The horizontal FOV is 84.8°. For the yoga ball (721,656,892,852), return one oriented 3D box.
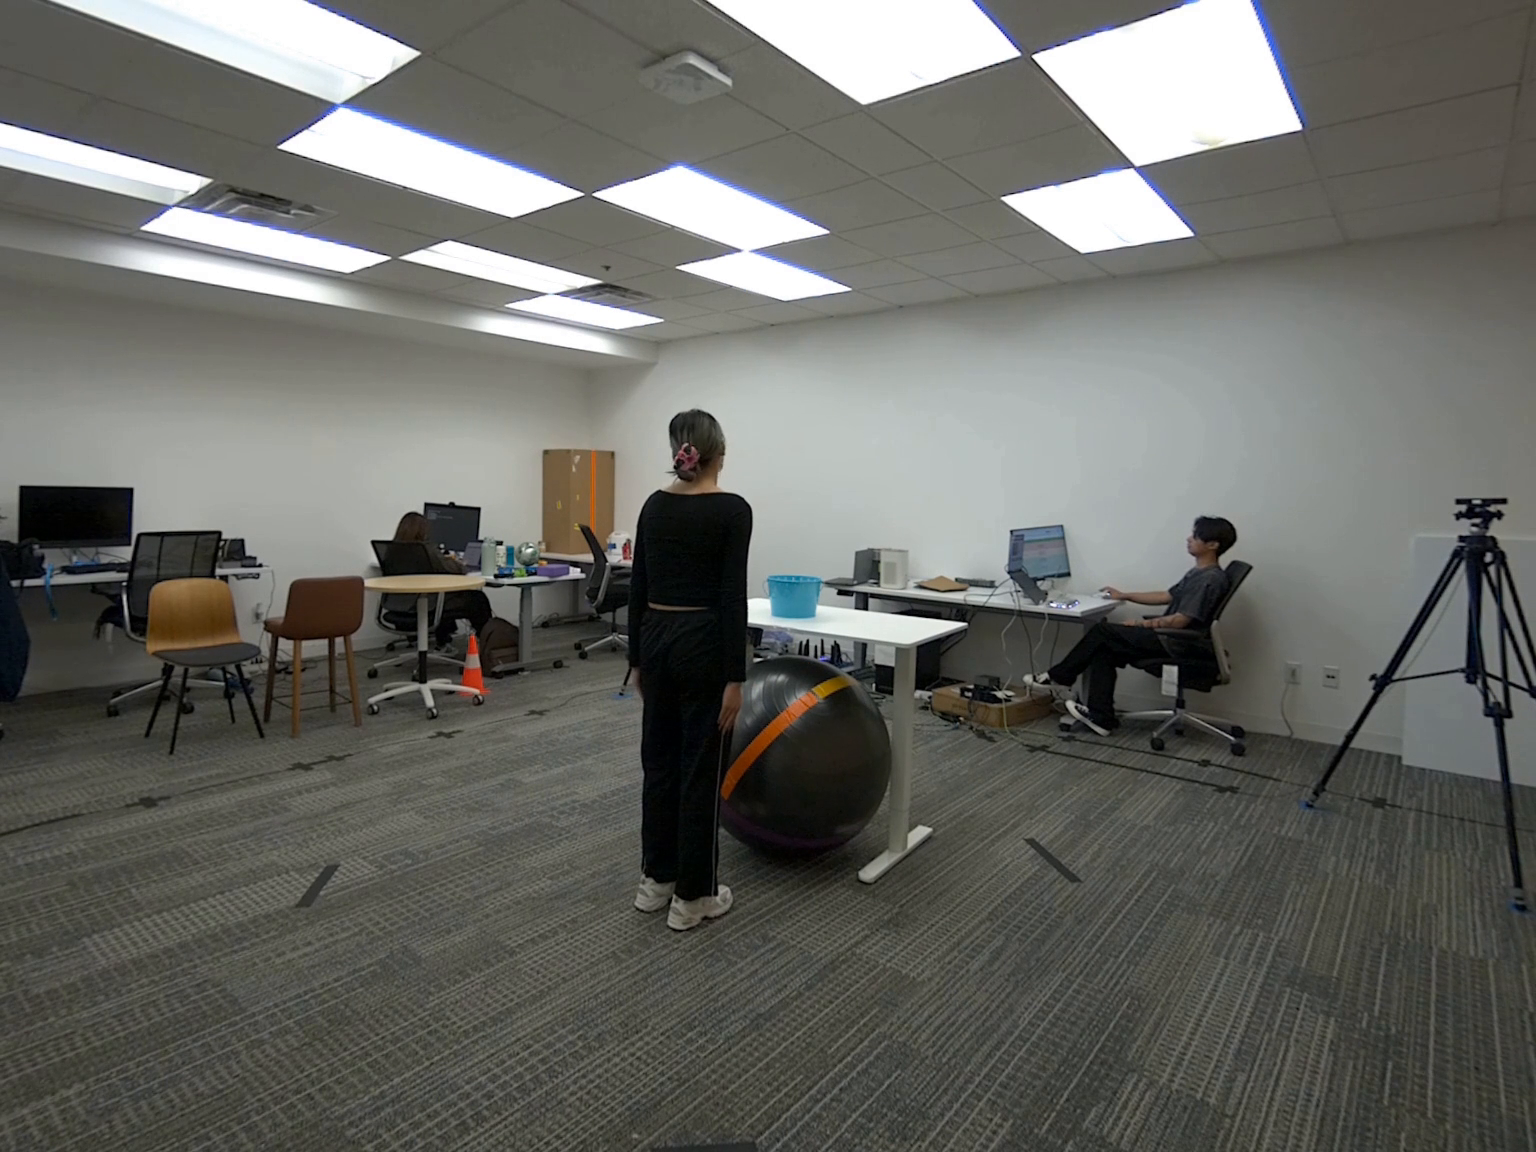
[{"bbox_3d":[0.097,0.692,3.297,0.757,0.756,0.761,1,4,-2],"label":"yoga ball"}]
